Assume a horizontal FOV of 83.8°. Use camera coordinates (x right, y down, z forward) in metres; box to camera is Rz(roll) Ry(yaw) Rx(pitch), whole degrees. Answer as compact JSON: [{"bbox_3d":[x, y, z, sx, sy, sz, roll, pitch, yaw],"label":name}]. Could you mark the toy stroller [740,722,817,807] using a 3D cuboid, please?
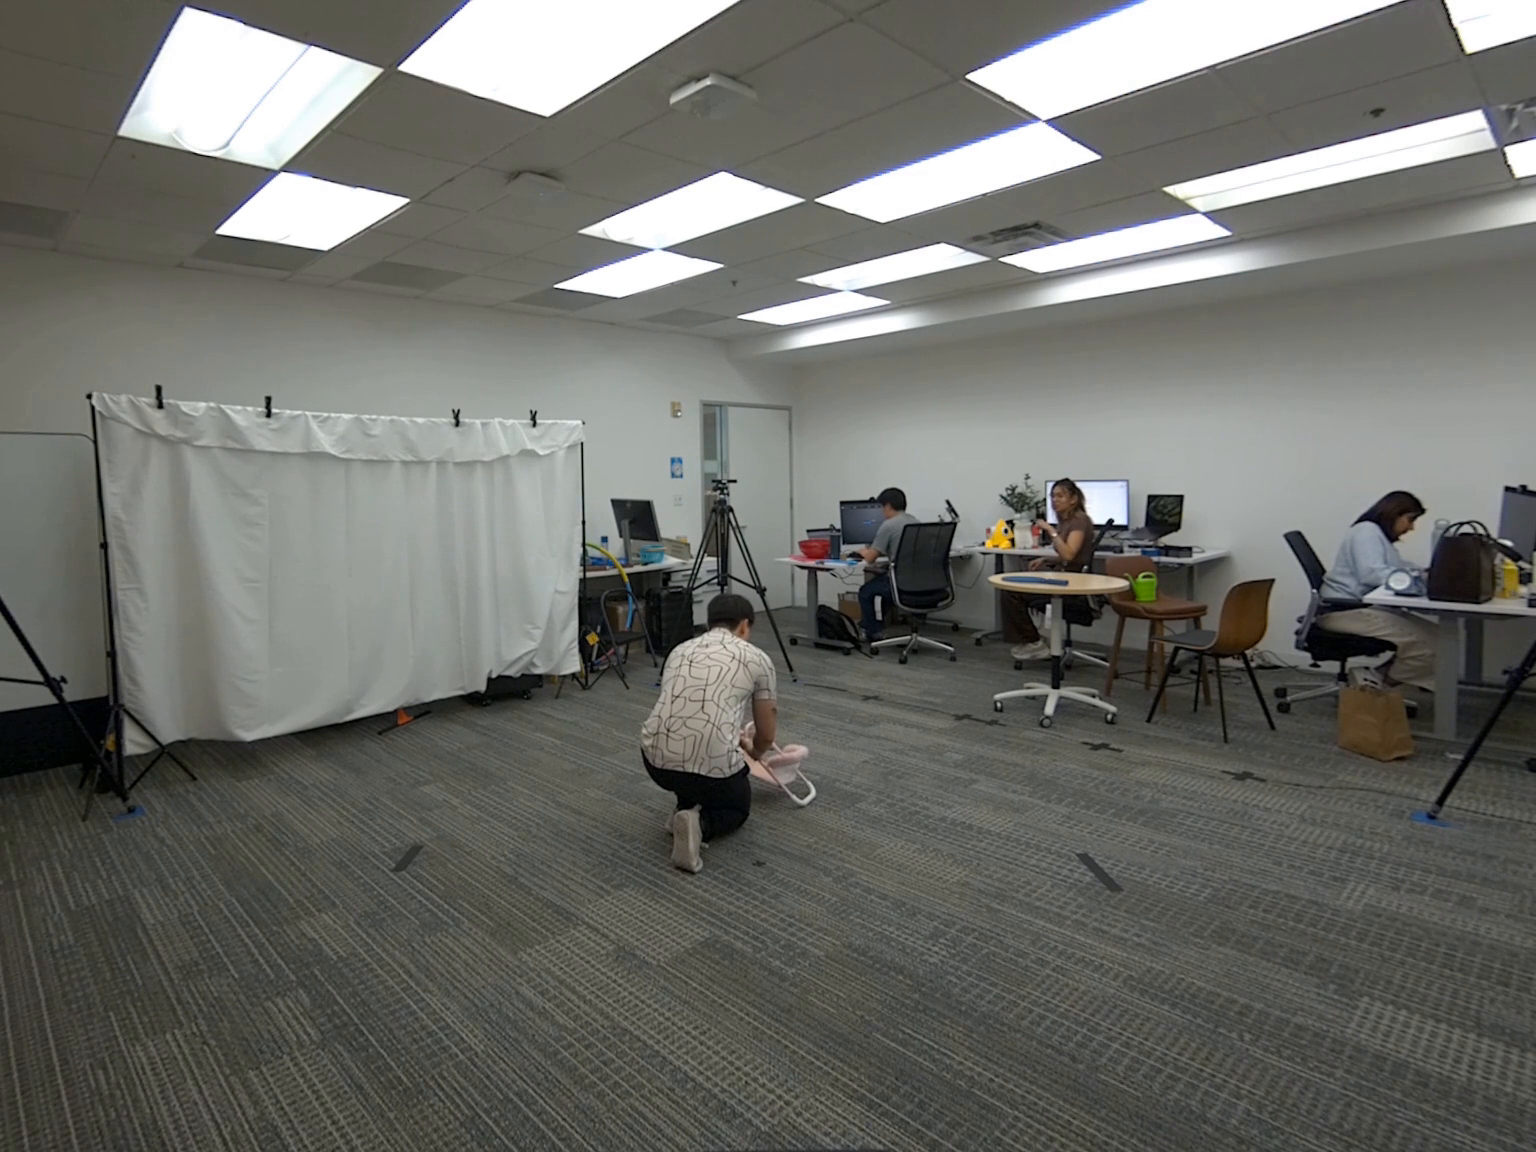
[{"bbox_3d":[-0.055,0.797,3.811,0.548,0.342,0.274,3,0,28],"label":"toy stroller"}]
